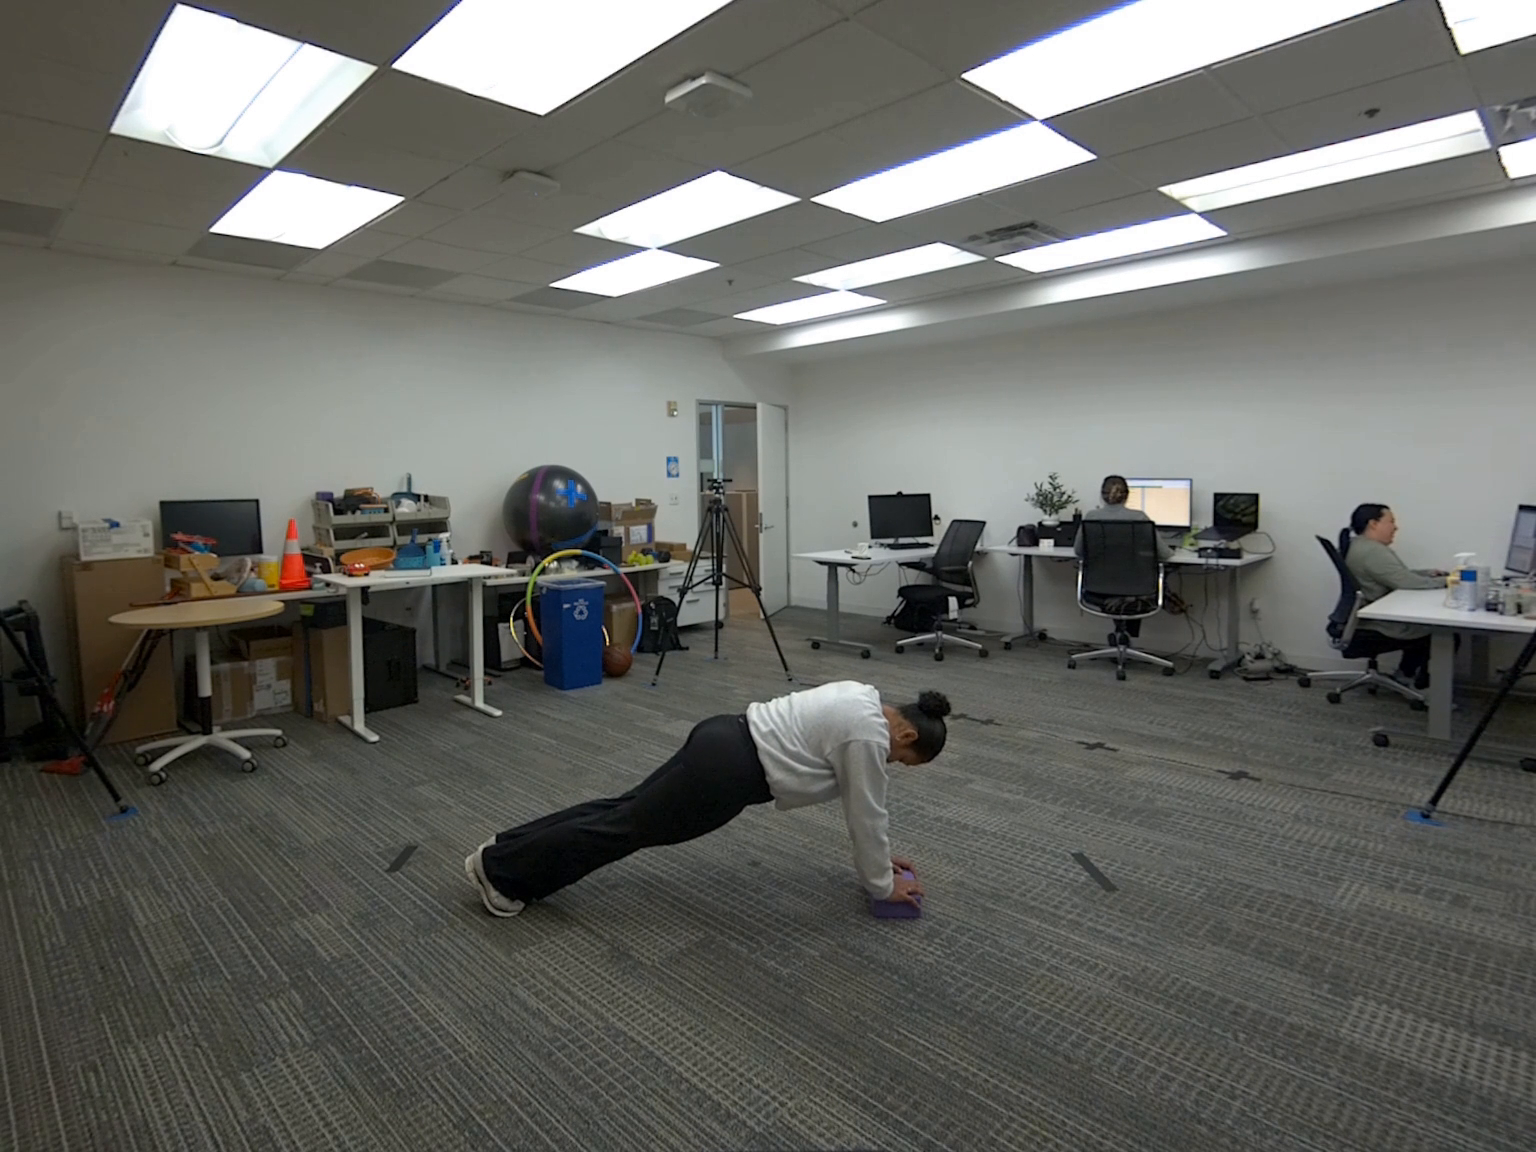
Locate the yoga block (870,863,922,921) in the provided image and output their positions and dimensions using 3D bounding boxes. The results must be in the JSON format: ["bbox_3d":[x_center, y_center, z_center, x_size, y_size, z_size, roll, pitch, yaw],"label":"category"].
[{"bbox_3d":[0.411,1.023,2.802,0.149,0.076,0.229,1,3,1],"label":"yoga block"}]
